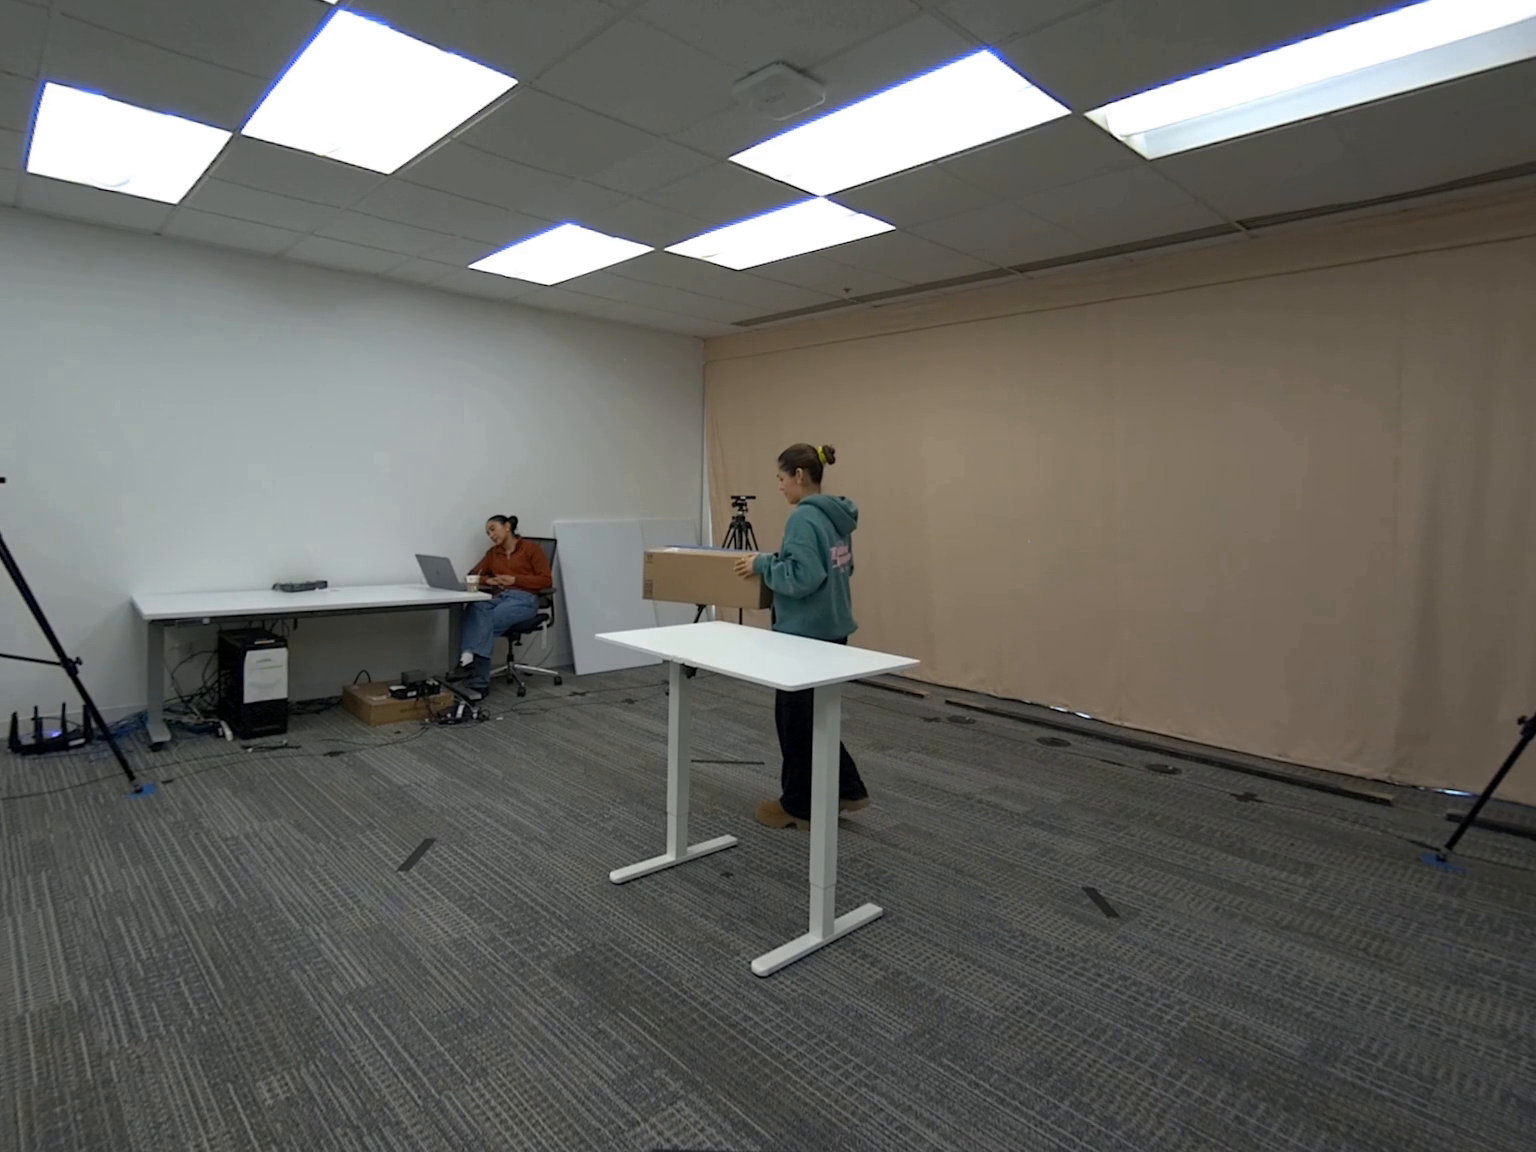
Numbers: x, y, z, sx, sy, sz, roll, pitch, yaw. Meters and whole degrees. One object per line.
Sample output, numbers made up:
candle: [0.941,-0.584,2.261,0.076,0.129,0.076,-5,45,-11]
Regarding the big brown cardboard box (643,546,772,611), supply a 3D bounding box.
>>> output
big brown cardboard box: [-0.216,0.006,3.769,0.600,0.232,0.410,5,4,24]
